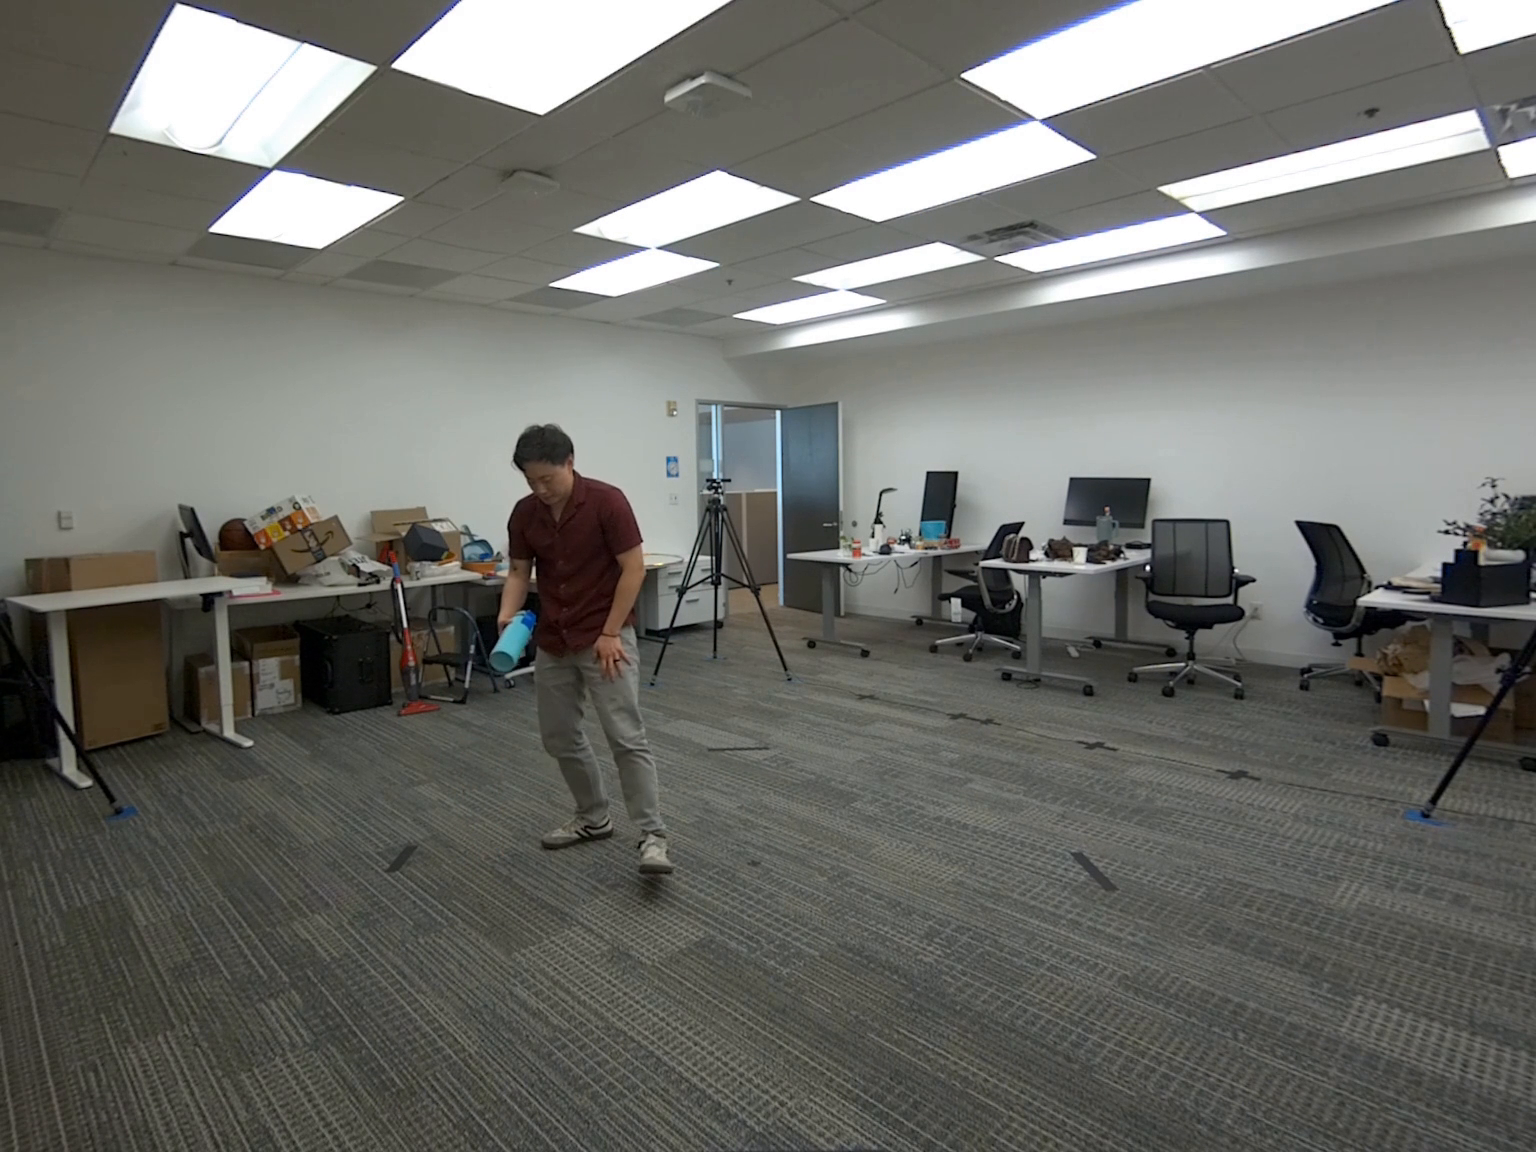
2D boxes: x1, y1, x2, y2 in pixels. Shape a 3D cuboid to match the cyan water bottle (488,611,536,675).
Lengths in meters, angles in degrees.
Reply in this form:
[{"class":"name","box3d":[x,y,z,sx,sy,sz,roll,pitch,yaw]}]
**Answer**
[{"class":"cyan water bottle","box3d":[-0.875,0.220,2.952,0.093,0.090,0.289,-1,28,3]}]
